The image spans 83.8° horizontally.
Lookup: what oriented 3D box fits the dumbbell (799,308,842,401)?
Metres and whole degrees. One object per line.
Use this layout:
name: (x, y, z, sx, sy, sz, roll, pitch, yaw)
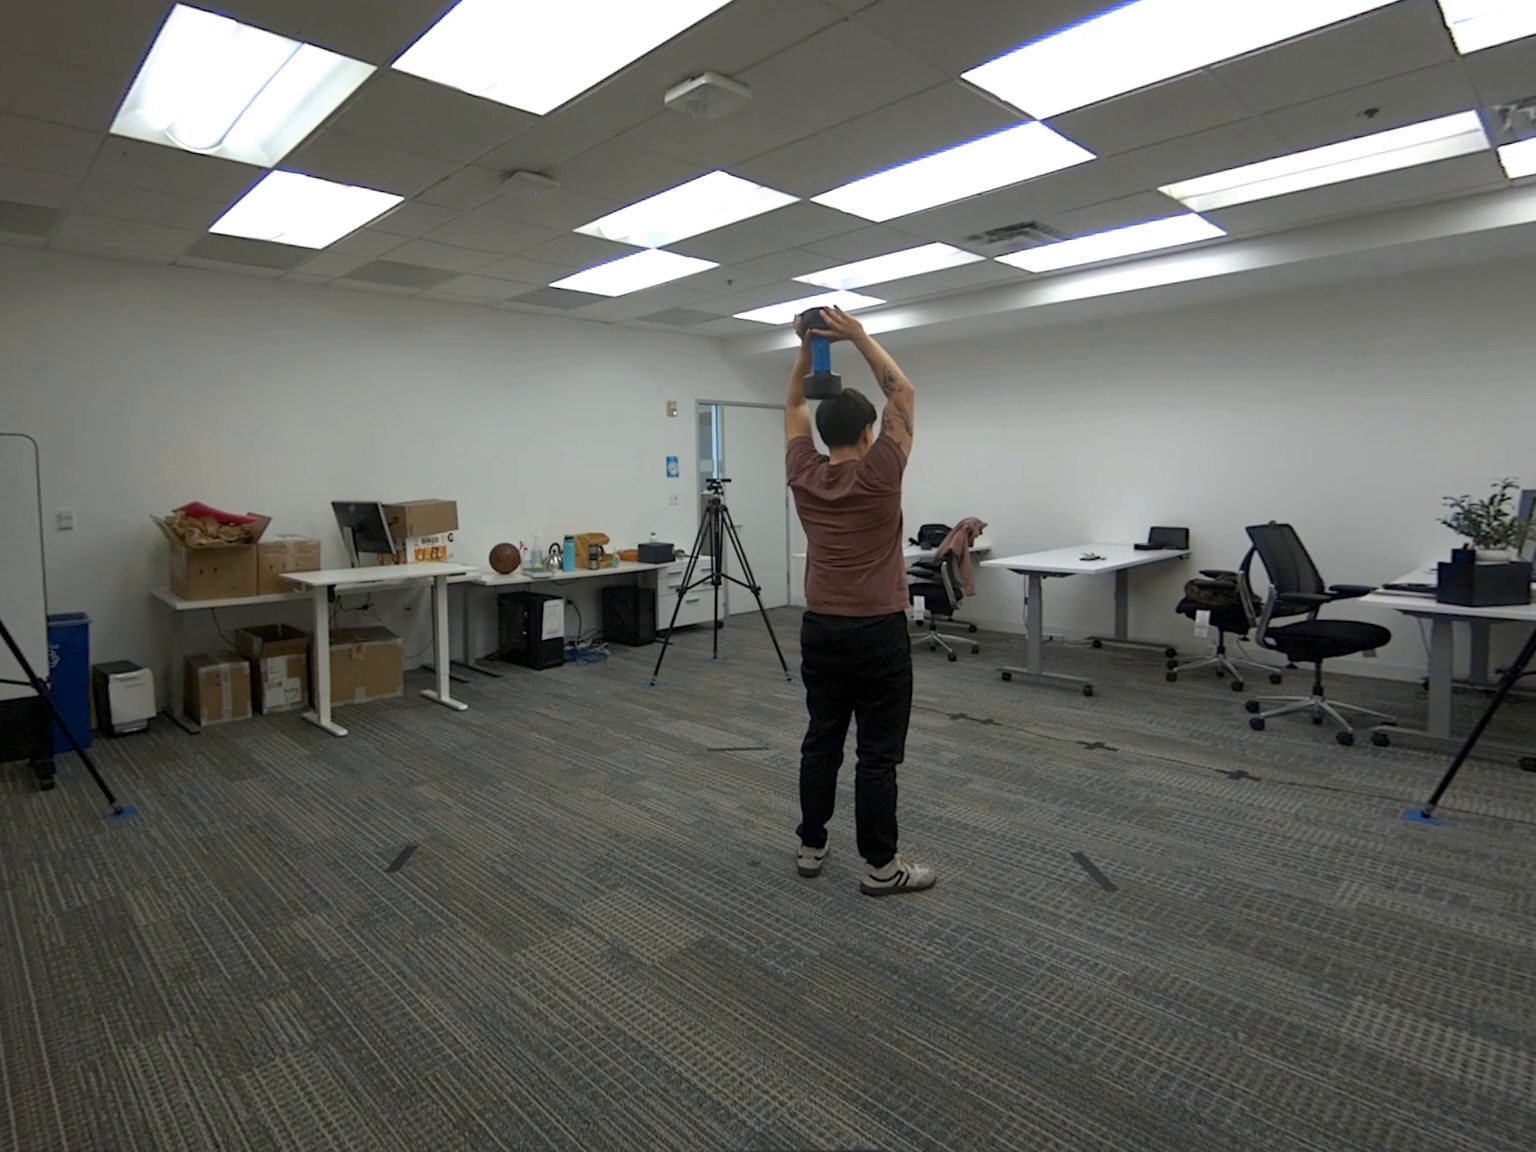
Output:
dumbbell: (0.177, -0.720, 2.784, 0.112, 0.293, 0.119, 2, 3, 39)
